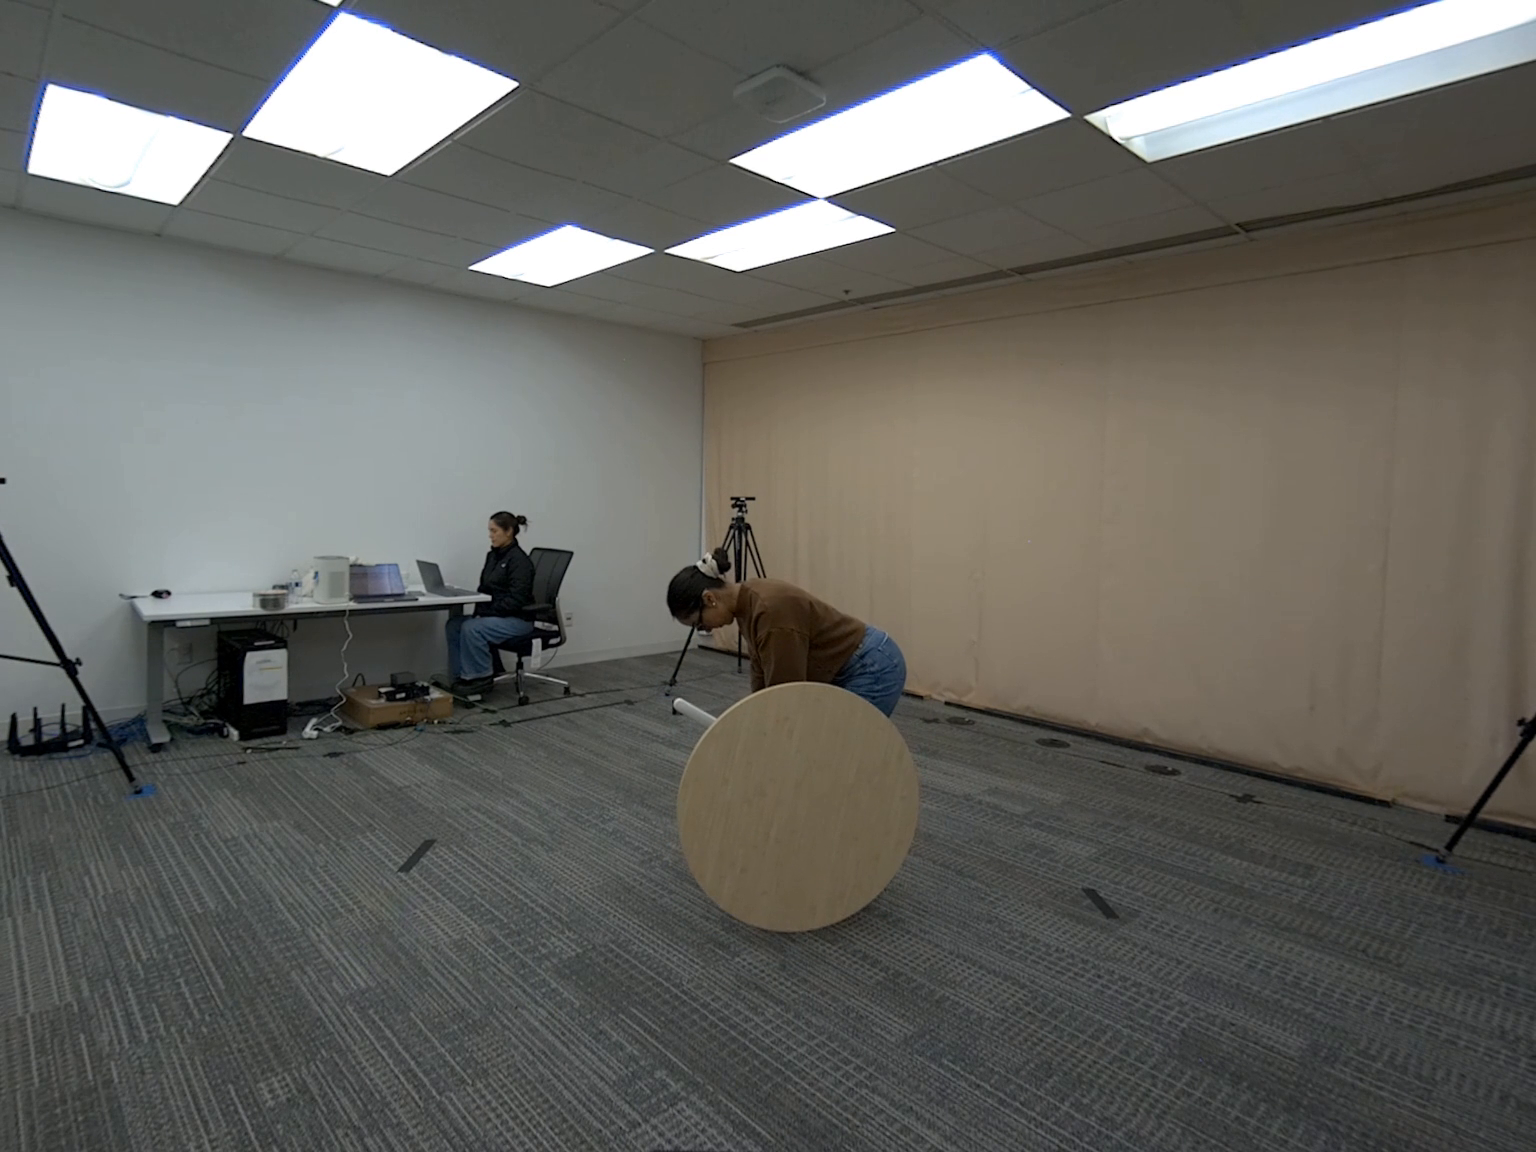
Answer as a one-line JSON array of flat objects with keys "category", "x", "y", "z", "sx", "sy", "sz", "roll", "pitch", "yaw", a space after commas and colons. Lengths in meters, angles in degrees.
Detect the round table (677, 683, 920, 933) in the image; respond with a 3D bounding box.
[{"category": "round table", "x": 0.009, "y": 0.692, "z": 2.965, "sx": 0.757, "sy": 0.763, "sz": 0.802, "roll": 0, "pitch": 2, "yaw": -12}]
